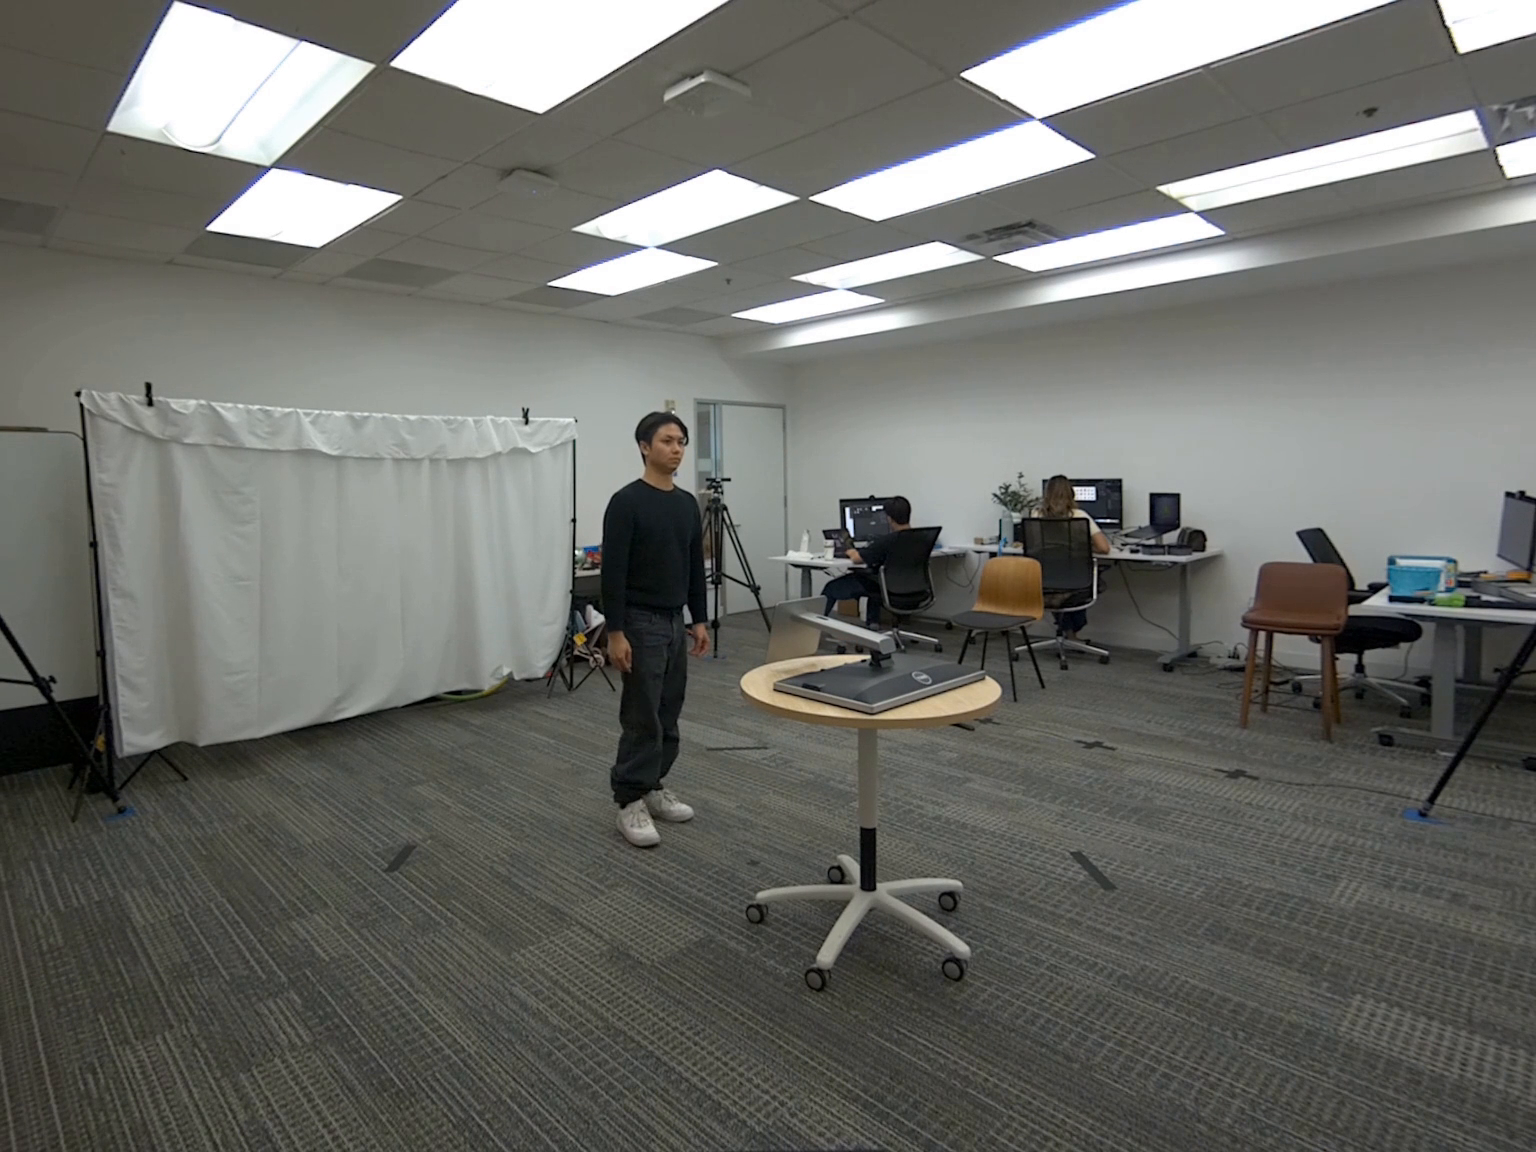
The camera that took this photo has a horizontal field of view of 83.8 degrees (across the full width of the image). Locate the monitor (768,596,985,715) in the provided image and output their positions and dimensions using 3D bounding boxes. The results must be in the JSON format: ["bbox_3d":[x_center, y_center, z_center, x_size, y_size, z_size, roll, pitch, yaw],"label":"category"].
[{"bbox_3d":[0.298,0.249,2.575,0.526,0.185,0.542,-10,25,-42],"label":"monitor"}]
